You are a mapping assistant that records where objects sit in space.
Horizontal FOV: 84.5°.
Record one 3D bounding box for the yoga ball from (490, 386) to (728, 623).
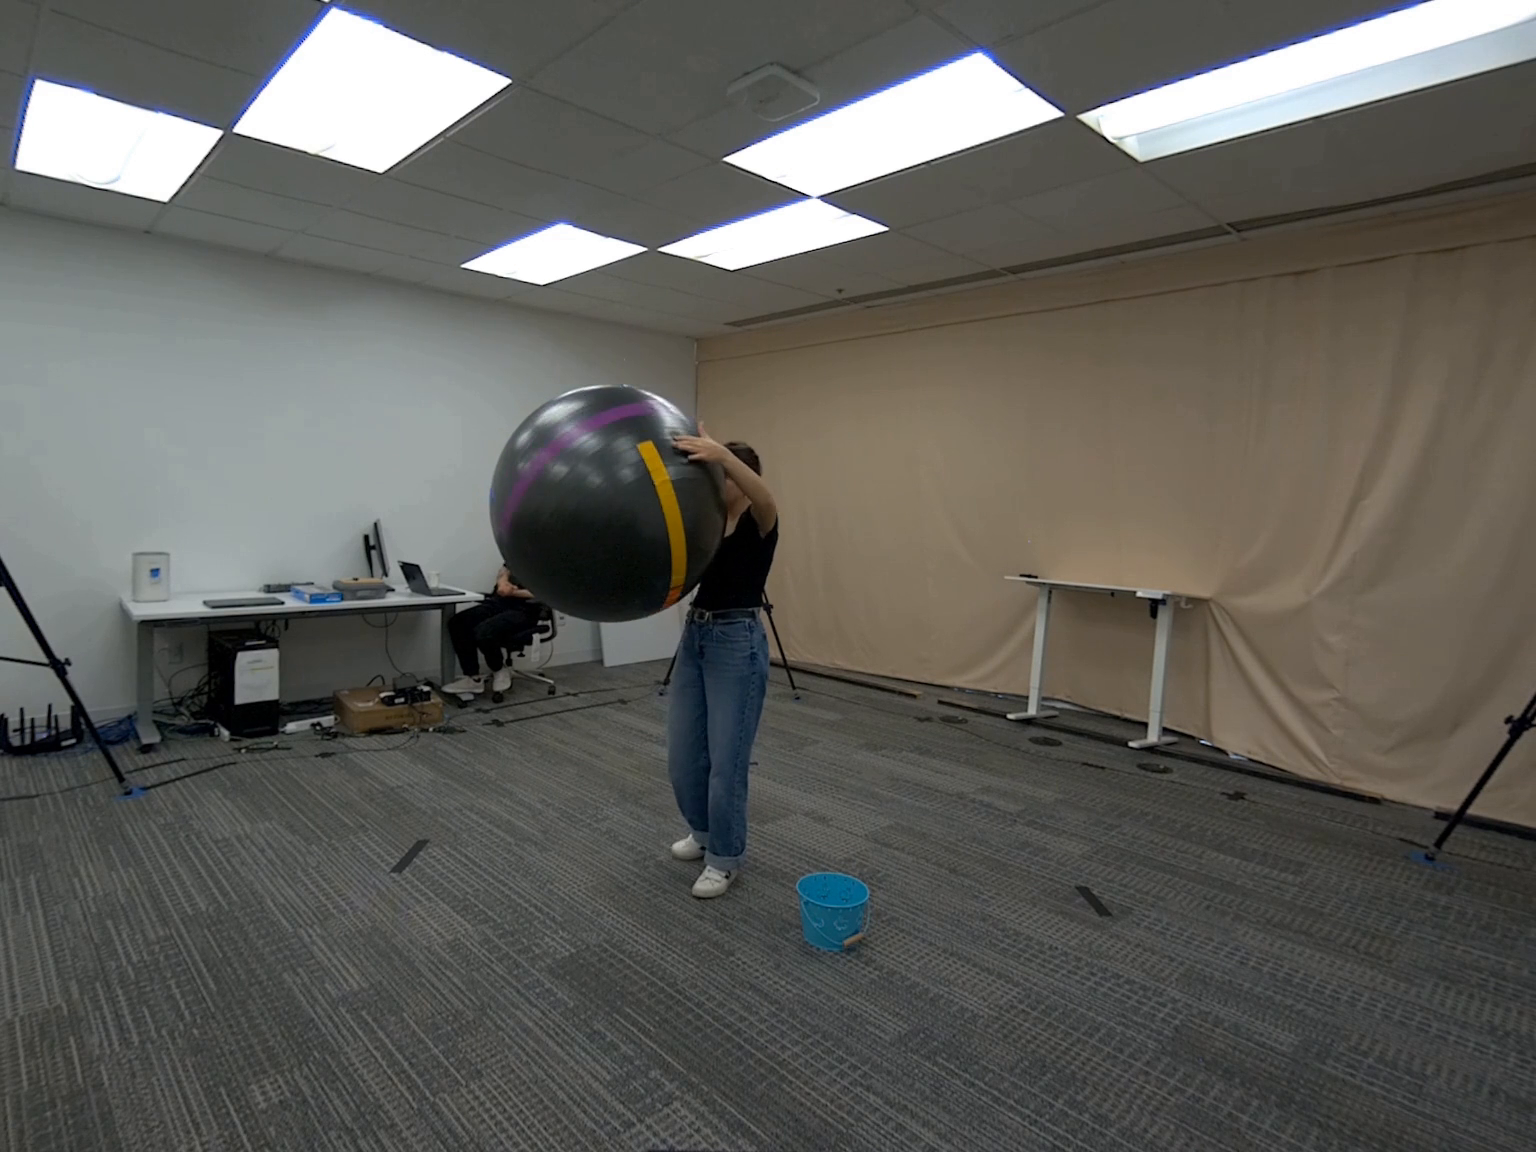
[{"bbox_3d":[-0.515,-0.212,2.703,0.757,0.756,0.761,1,4,-1],"label":"yoga ball"}]
